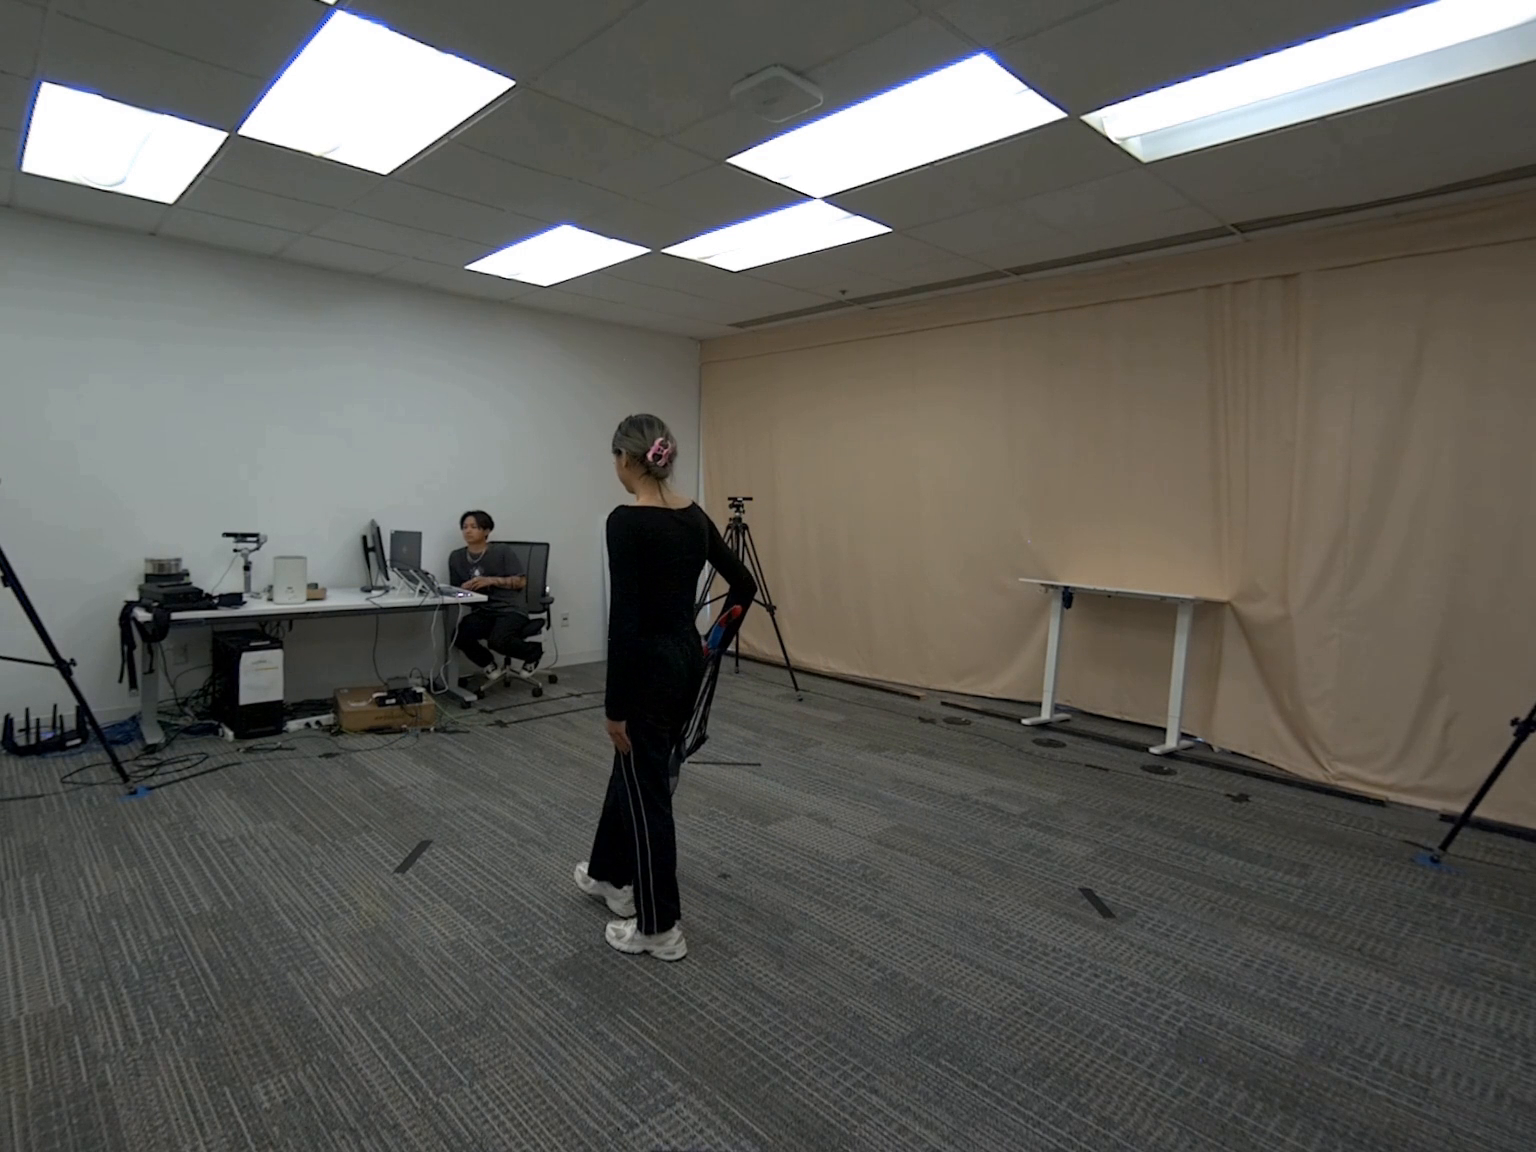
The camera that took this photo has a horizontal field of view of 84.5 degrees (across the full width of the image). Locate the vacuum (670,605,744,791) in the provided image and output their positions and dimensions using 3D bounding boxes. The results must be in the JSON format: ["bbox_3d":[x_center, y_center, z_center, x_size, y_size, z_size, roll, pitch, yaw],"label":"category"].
[{"bbox_3d":[-0.310,0.544,2.883,0.246,1.040,0.148,5,32,-36],"label":"vacuum"}]
